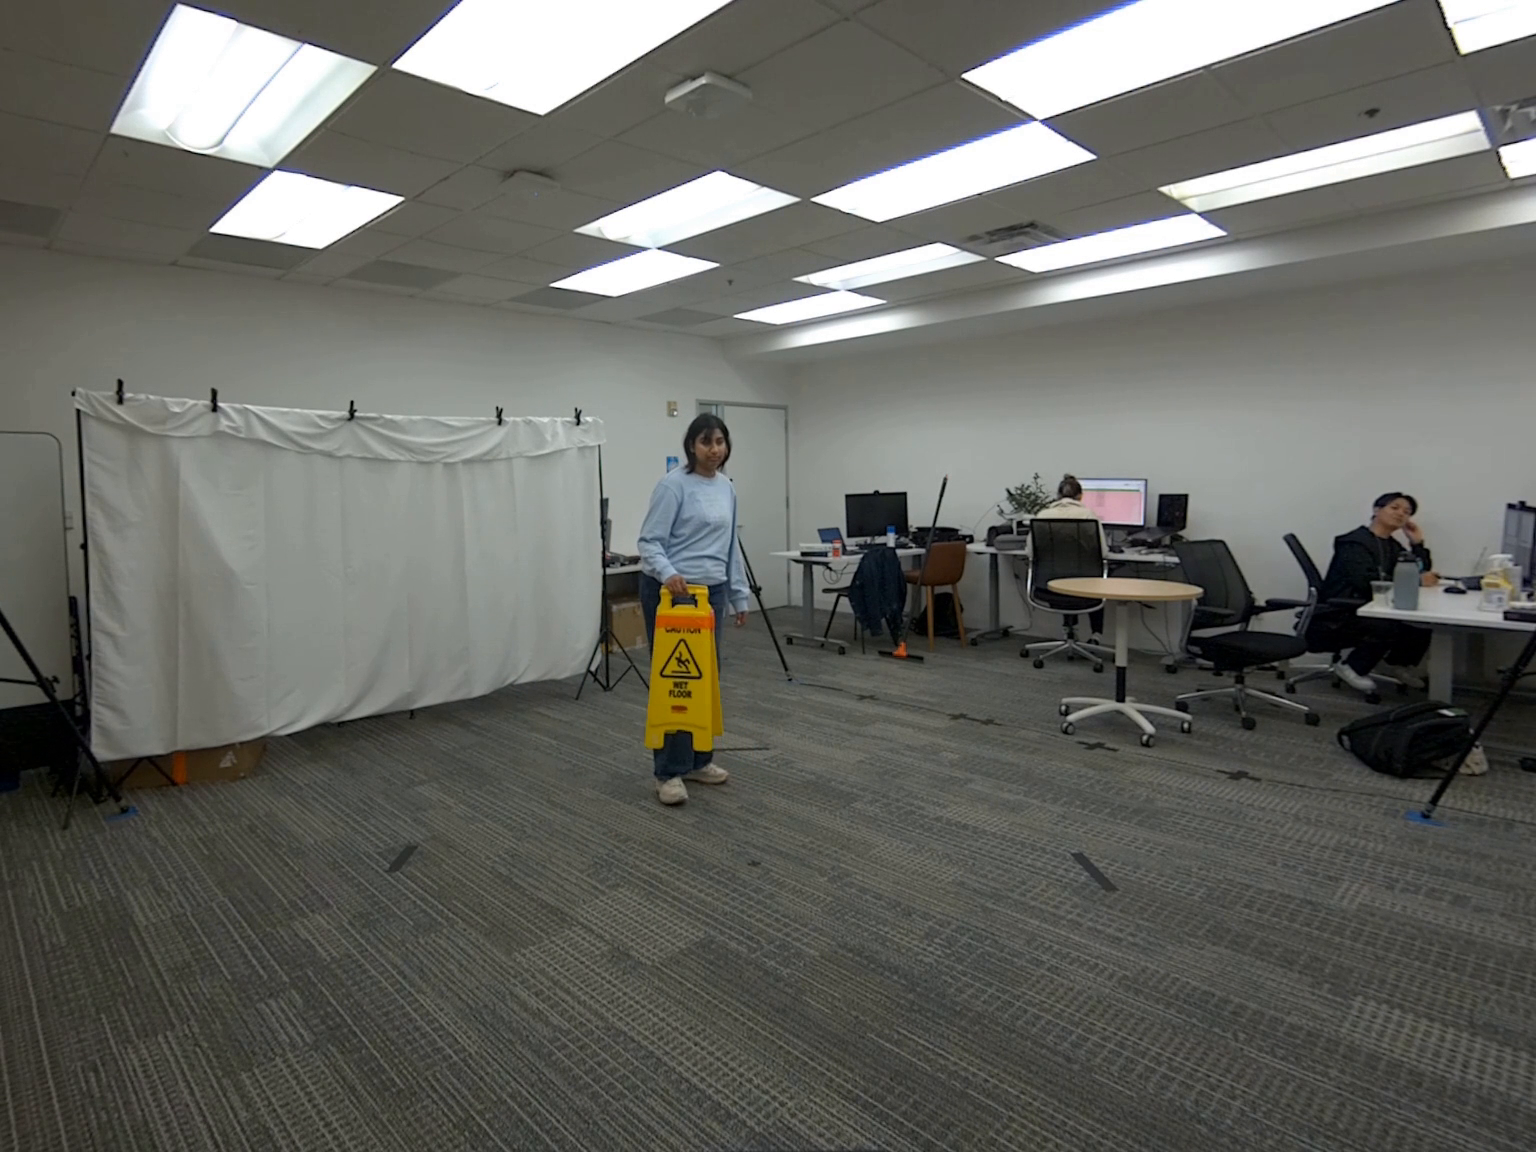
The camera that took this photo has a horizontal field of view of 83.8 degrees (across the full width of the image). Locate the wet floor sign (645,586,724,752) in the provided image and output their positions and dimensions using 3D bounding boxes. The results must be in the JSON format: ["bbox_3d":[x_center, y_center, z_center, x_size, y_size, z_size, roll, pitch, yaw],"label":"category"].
[{"bbox_3d":[-0.355,0.378,3.555,0.285,0.644,0.288,1,3,9],"label":"wet floor sign"}]
